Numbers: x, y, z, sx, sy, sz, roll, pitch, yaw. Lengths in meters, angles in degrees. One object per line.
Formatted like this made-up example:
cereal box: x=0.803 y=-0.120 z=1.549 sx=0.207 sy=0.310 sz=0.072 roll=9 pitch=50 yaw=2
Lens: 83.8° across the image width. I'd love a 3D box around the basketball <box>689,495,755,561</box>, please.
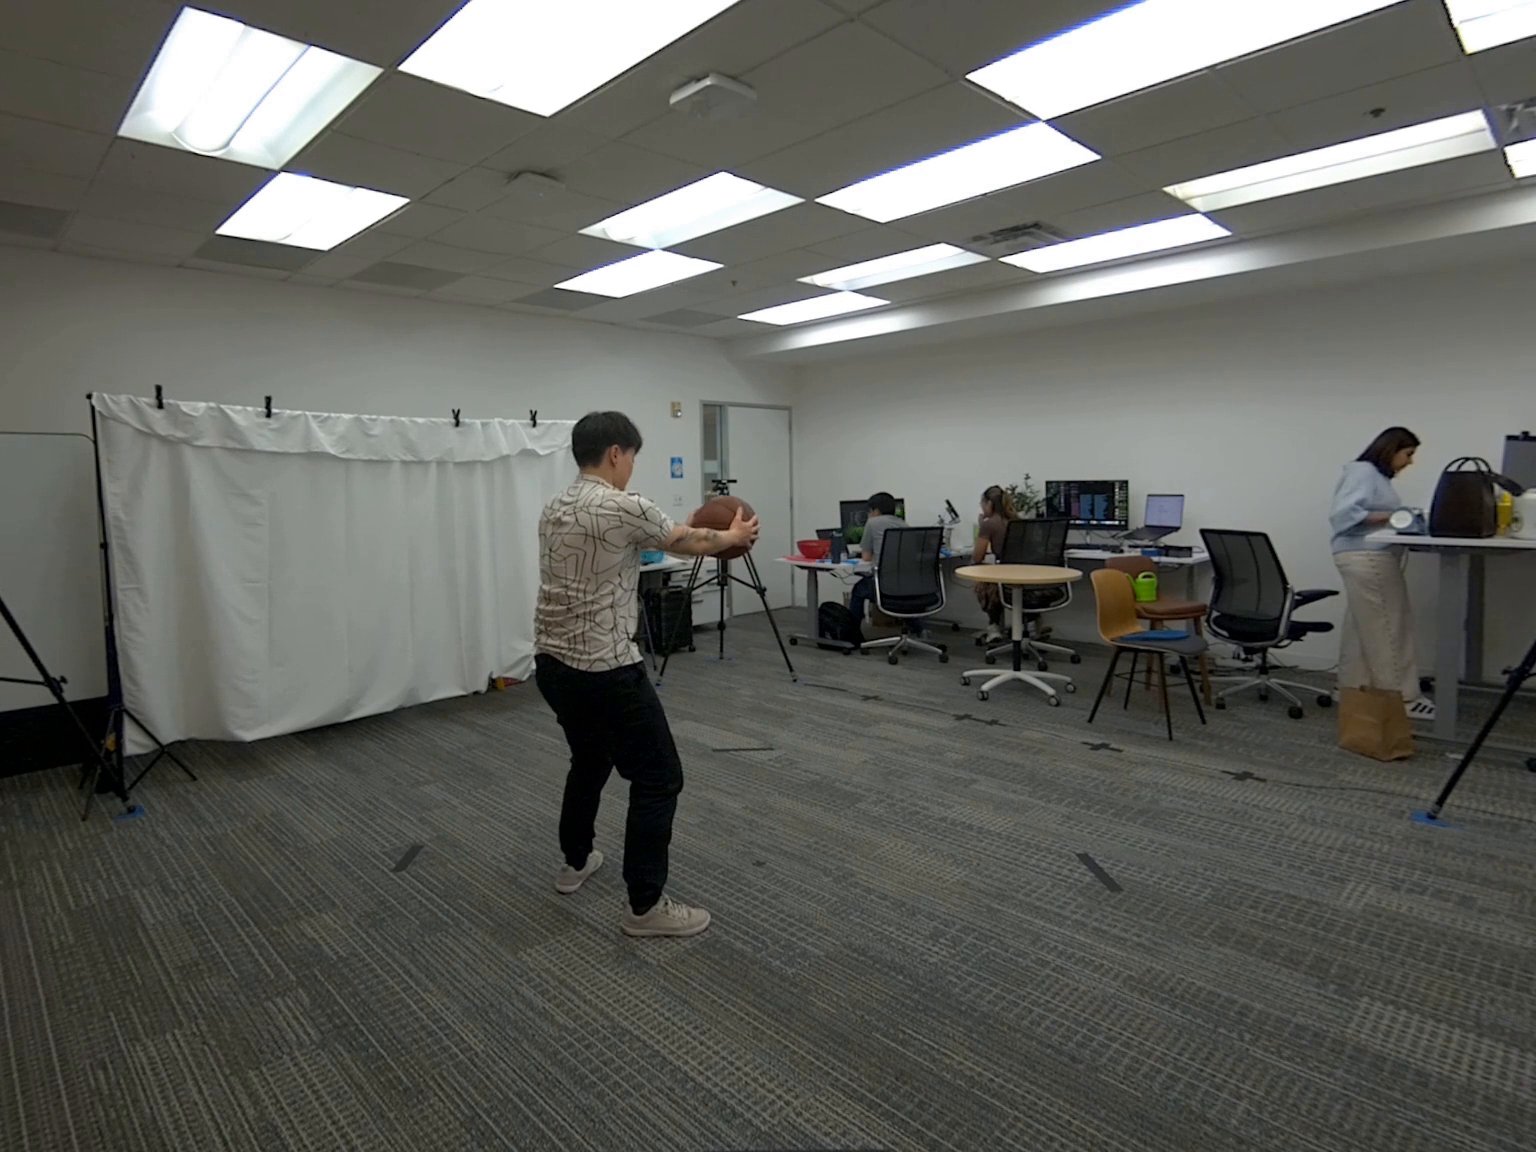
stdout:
basketball: x=-0.152 y=-0.177 z=3.164 sx=0.236 sy=0.235 sz=0.237 roll=-1 pitch=5 yaw=-2
